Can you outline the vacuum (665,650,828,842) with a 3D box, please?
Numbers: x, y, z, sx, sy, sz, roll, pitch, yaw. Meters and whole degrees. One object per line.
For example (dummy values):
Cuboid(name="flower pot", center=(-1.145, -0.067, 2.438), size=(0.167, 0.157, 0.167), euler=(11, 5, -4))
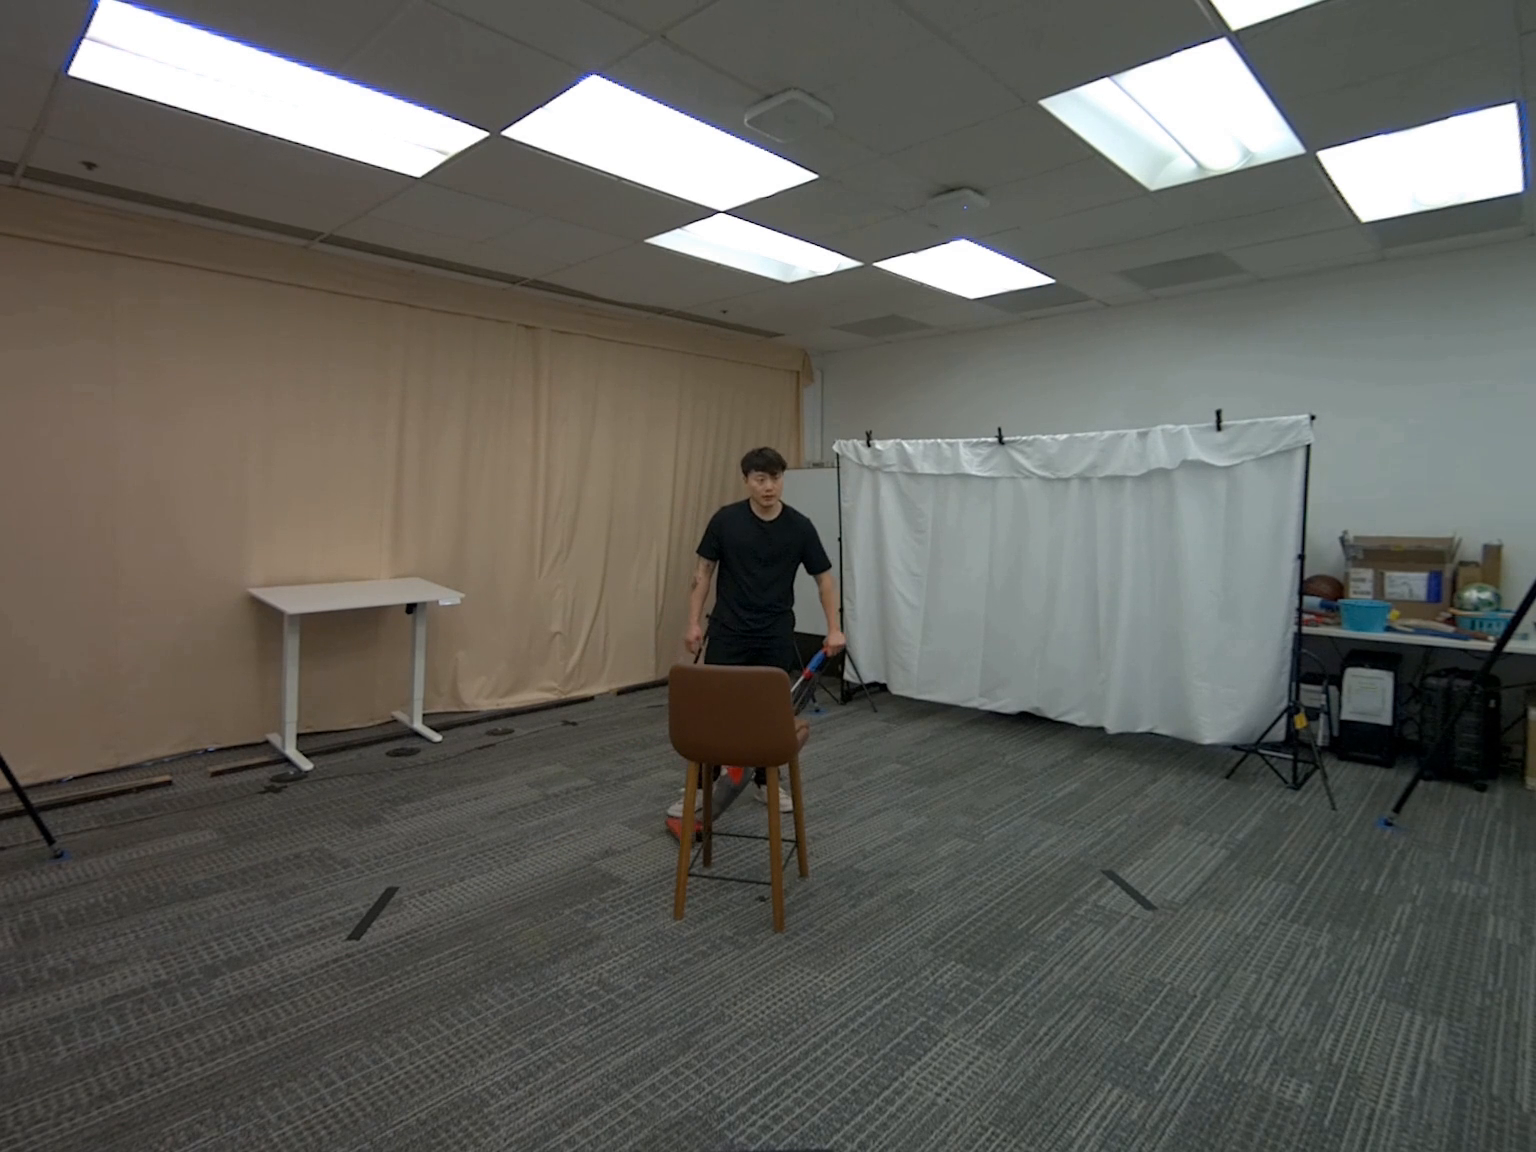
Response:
Cuboid(name="vacuum", center=(0.000, 0.686, 3.646), size=(0.141, 1.046, 0.259), euler=(46, -14, -21))
